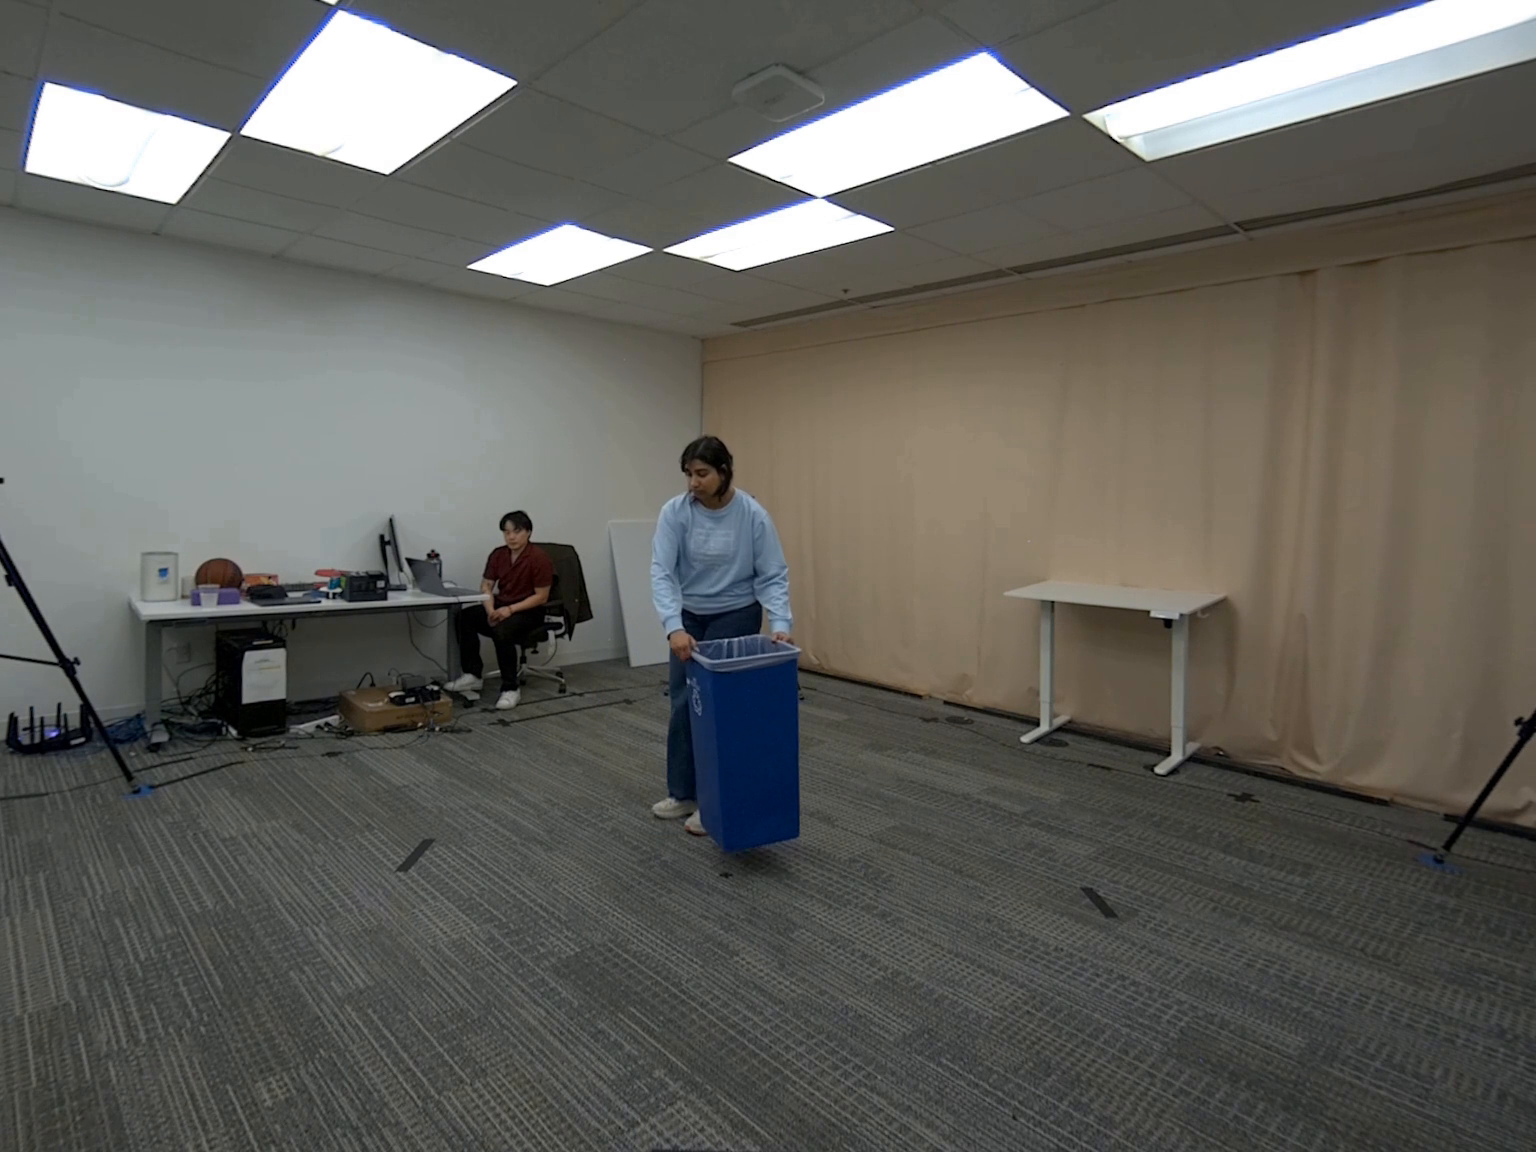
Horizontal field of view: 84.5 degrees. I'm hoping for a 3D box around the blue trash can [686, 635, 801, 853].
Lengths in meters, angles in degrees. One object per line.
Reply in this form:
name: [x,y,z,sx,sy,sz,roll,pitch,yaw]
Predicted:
blue trash can: [-0.095,0.623,3.192,0.373,0.711,0.381,-5,5,-21]
